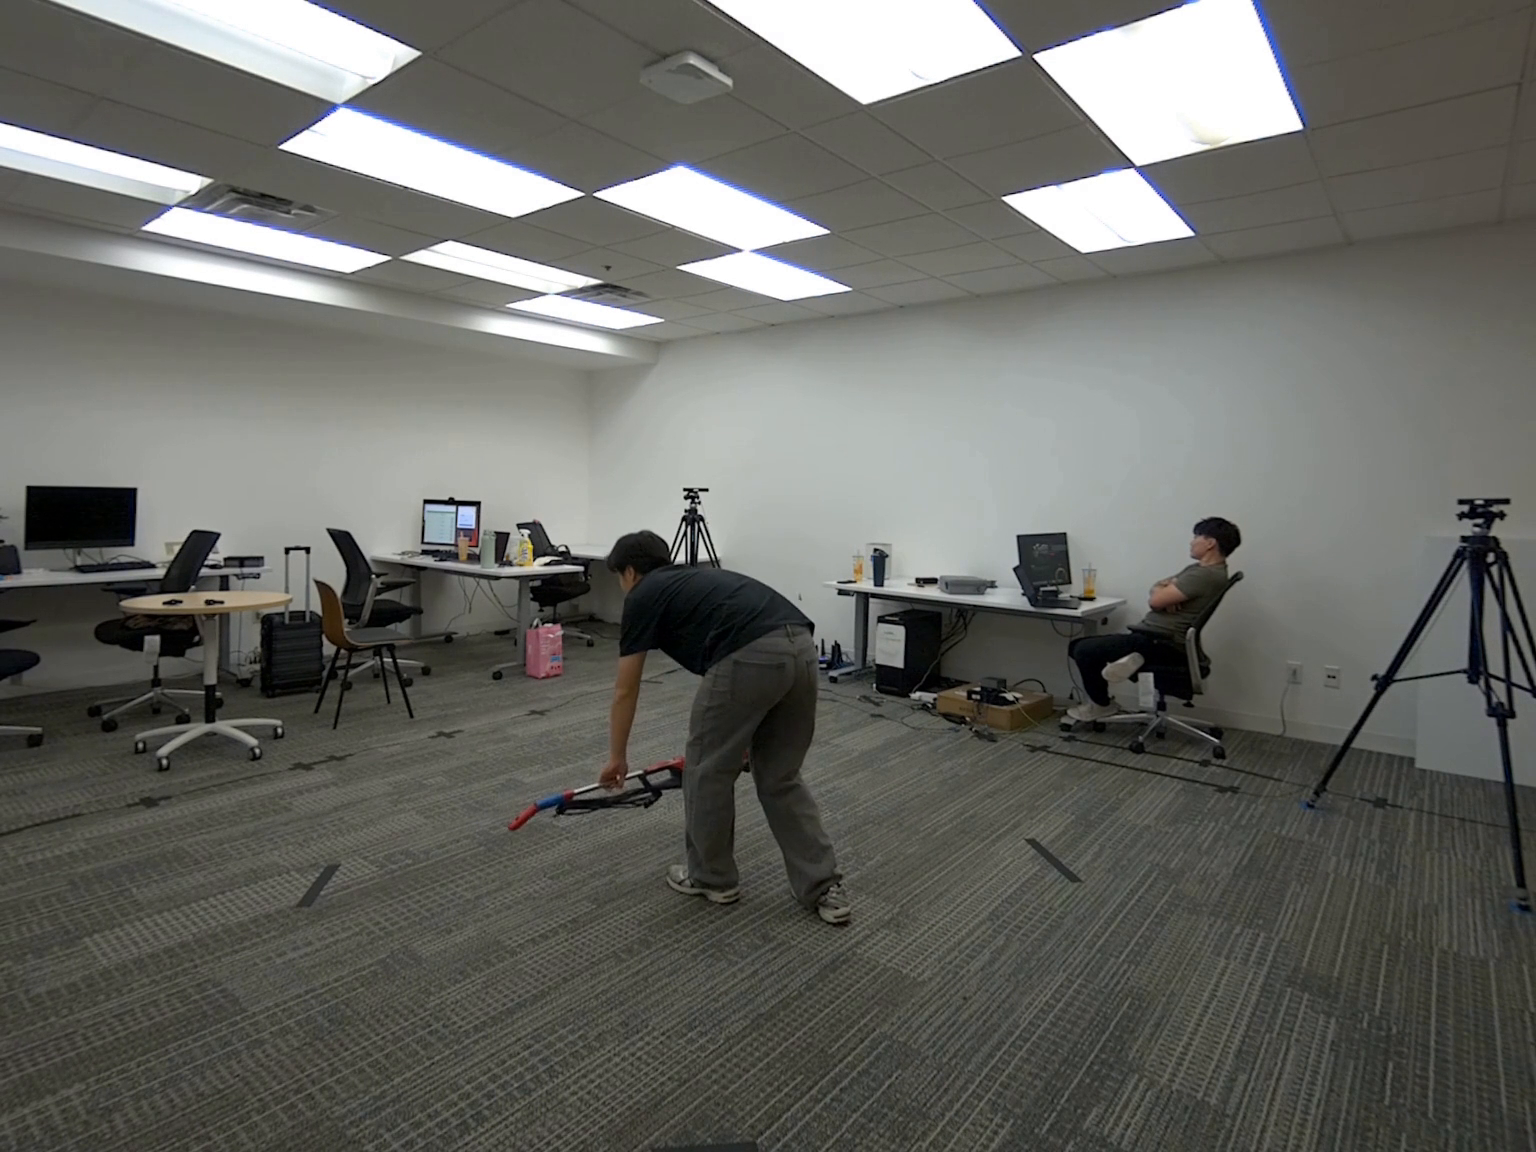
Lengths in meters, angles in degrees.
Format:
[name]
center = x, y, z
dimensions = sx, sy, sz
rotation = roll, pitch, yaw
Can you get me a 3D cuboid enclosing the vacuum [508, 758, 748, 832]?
[vacuum]
center = -0.482, 0.758, 3.088
dimensions = 1.020, 0.143, 0.261
rotation = -9, 11, -44
